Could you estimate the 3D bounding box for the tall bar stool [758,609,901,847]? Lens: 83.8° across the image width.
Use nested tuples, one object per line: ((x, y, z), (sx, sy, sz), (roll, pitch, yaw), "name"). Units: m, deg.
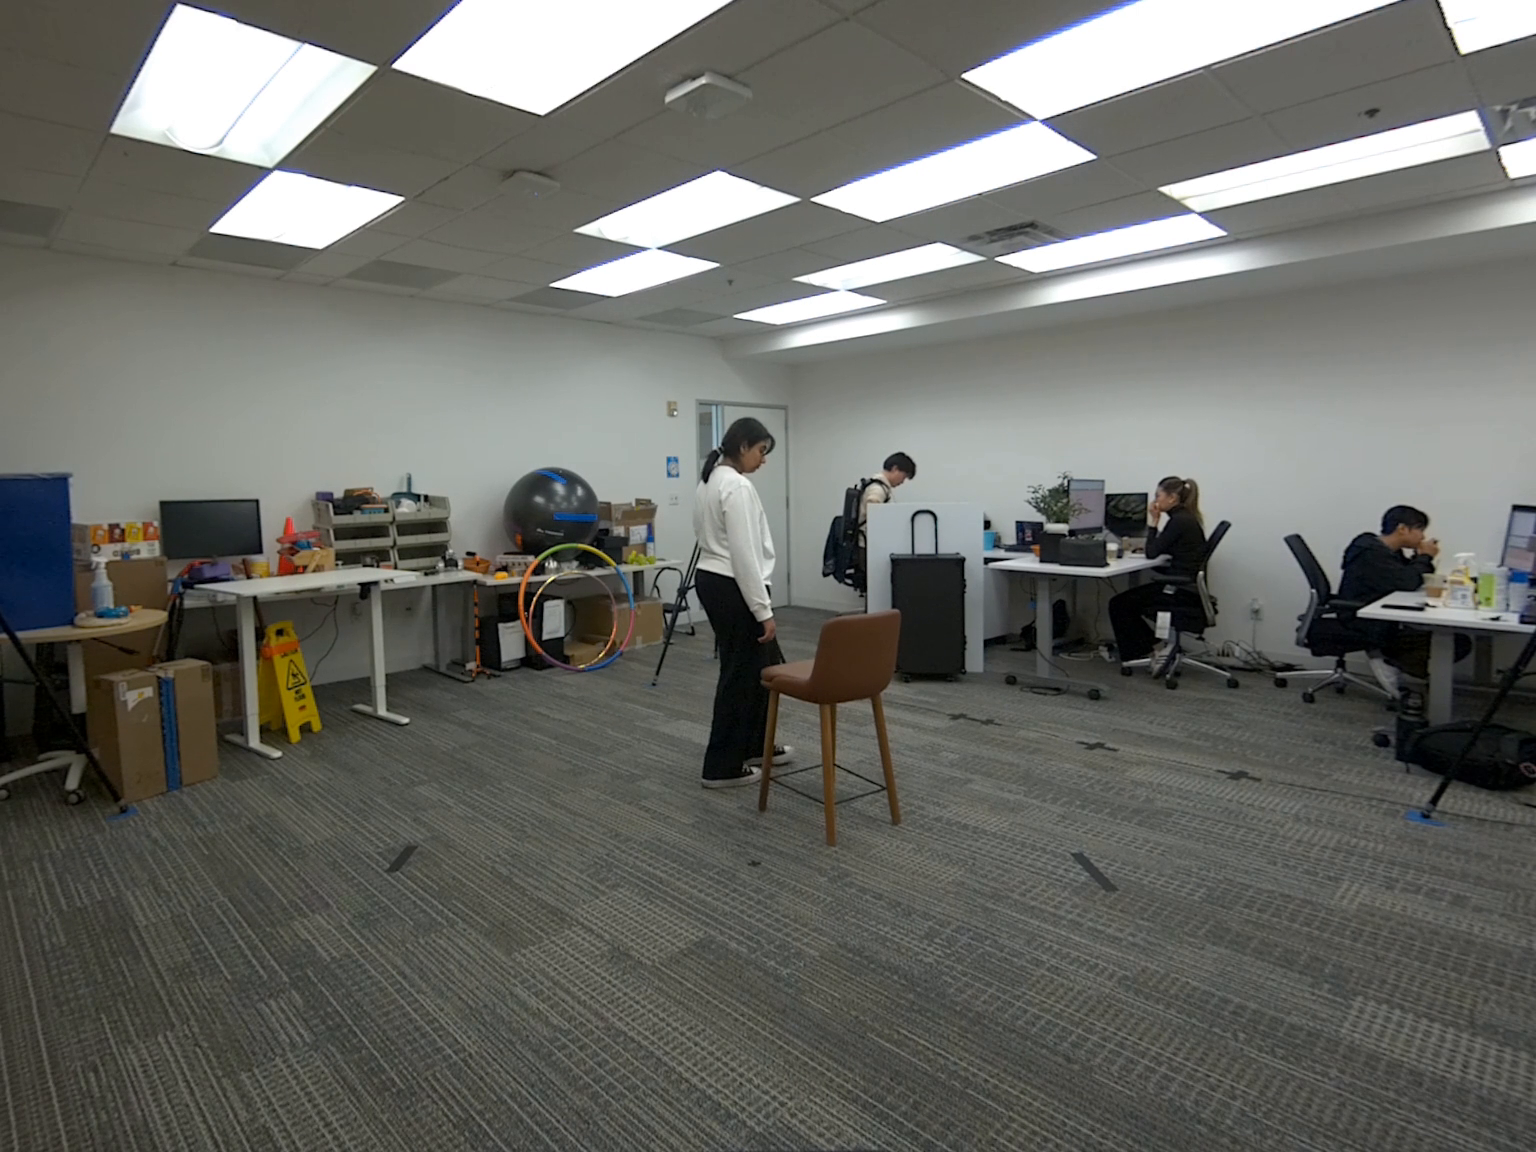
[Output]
((0.252, 0.560, 3.504), (0.445, 0.885, 0.482), (-3, 7, -36), "tall bar stool")
